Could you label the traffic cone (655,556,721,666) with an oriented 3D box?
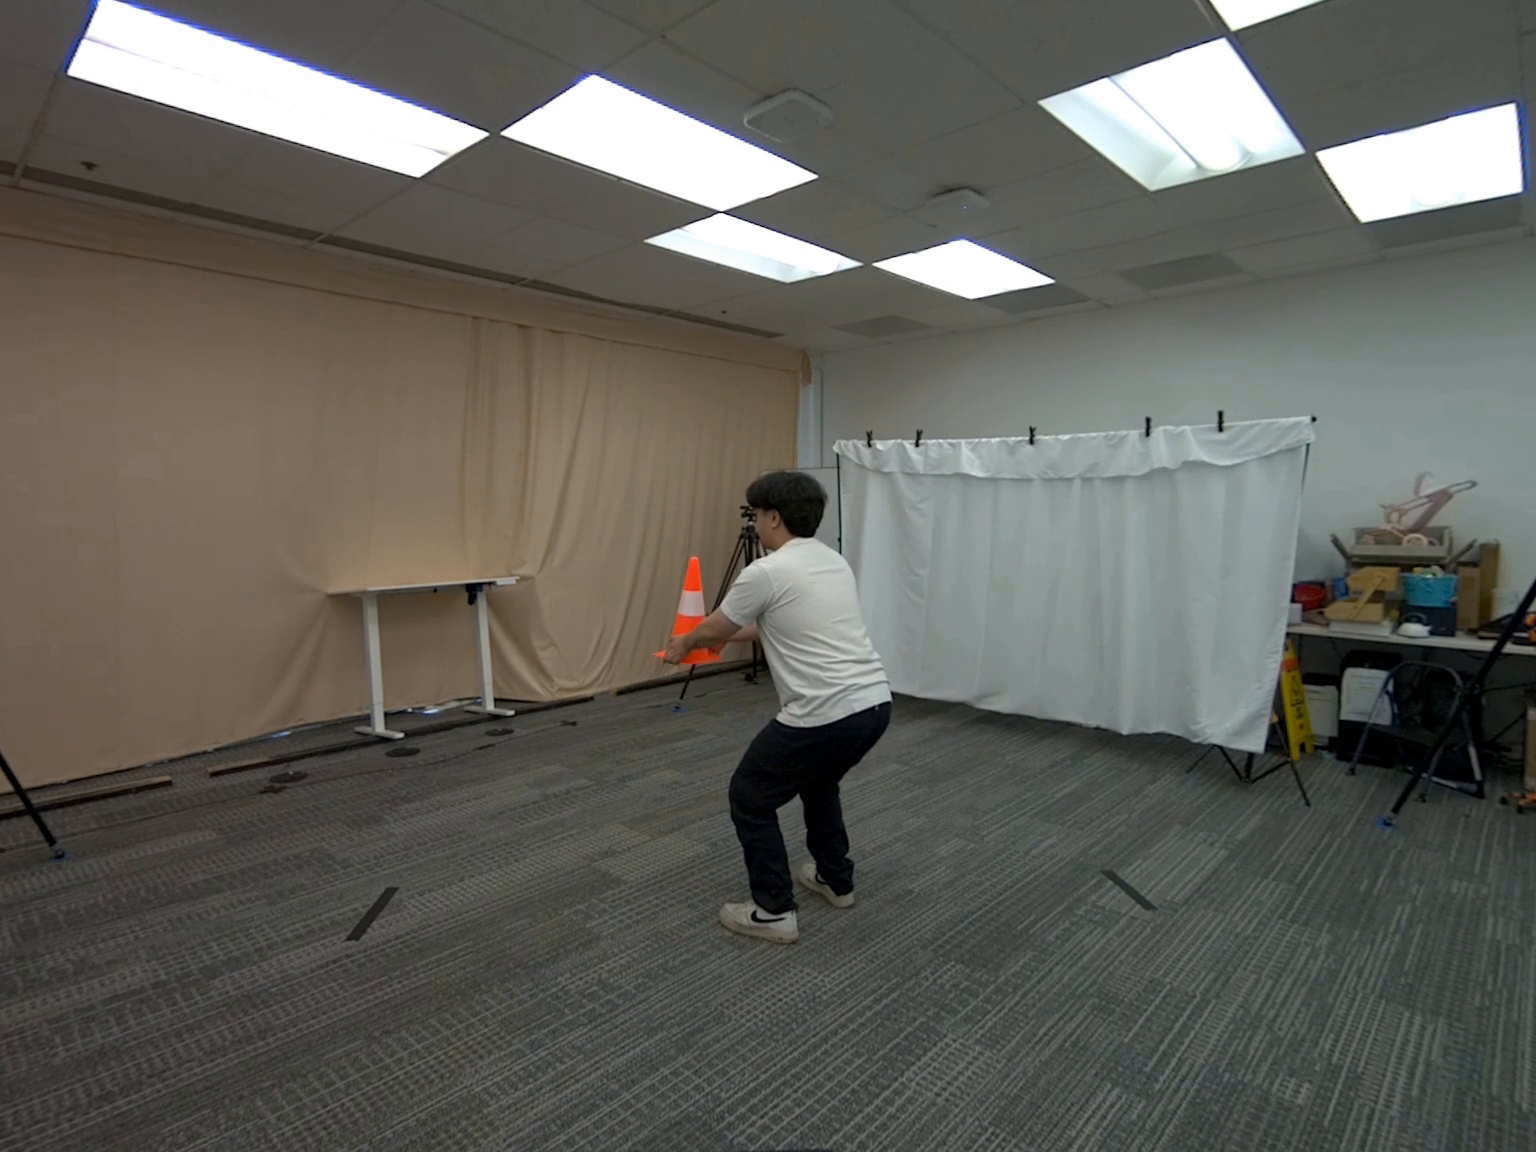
[{"bbox_3d":[-0.294,0.120,3.187,0.209,0.382,0.200,7,8,28],"label":"traffic cone"}]
